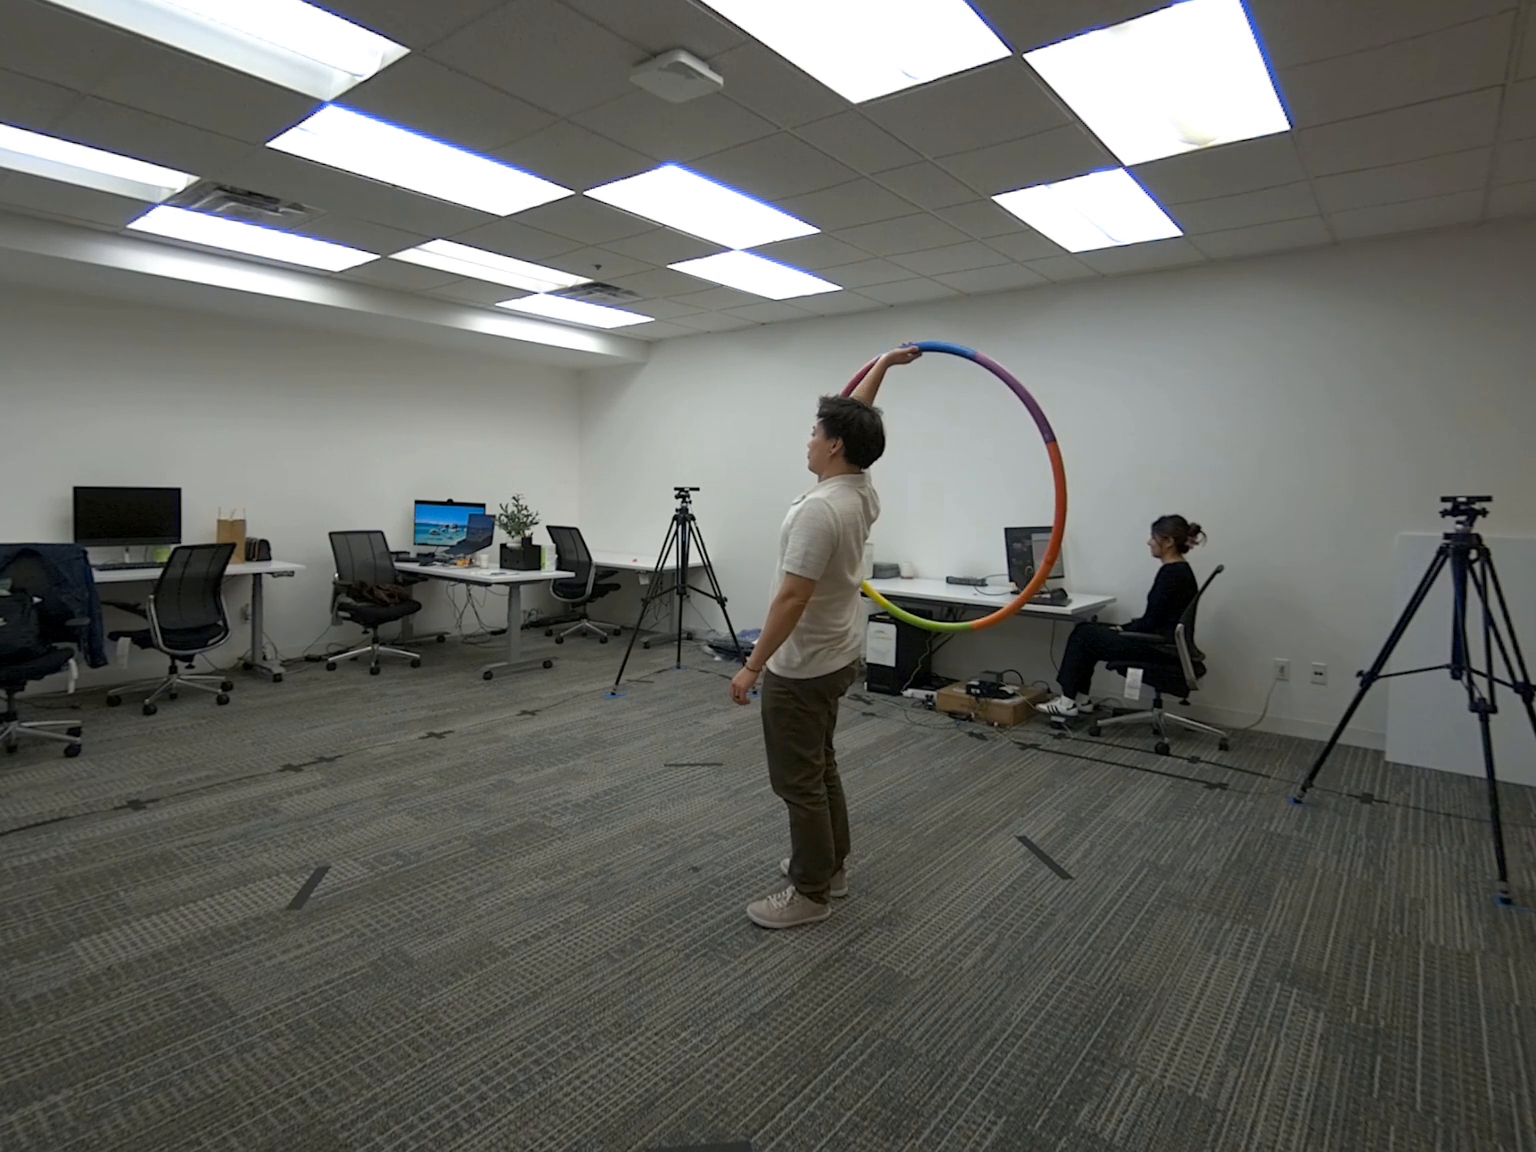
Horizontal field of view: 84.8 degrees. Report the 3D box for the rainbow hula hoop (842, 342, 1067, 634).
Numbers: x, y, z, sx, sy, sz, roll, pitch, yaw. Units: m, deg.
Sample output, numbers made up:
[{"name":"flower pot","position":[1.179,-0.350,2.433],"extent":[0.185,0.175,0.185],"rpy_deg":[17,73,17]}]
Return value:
[{"name":"rainbow hula hoop","position":[0.520,-0.292,2.890],"extent":[0.035,0.969,1.012],"rpy_deg":[-13,12,-42]}]
